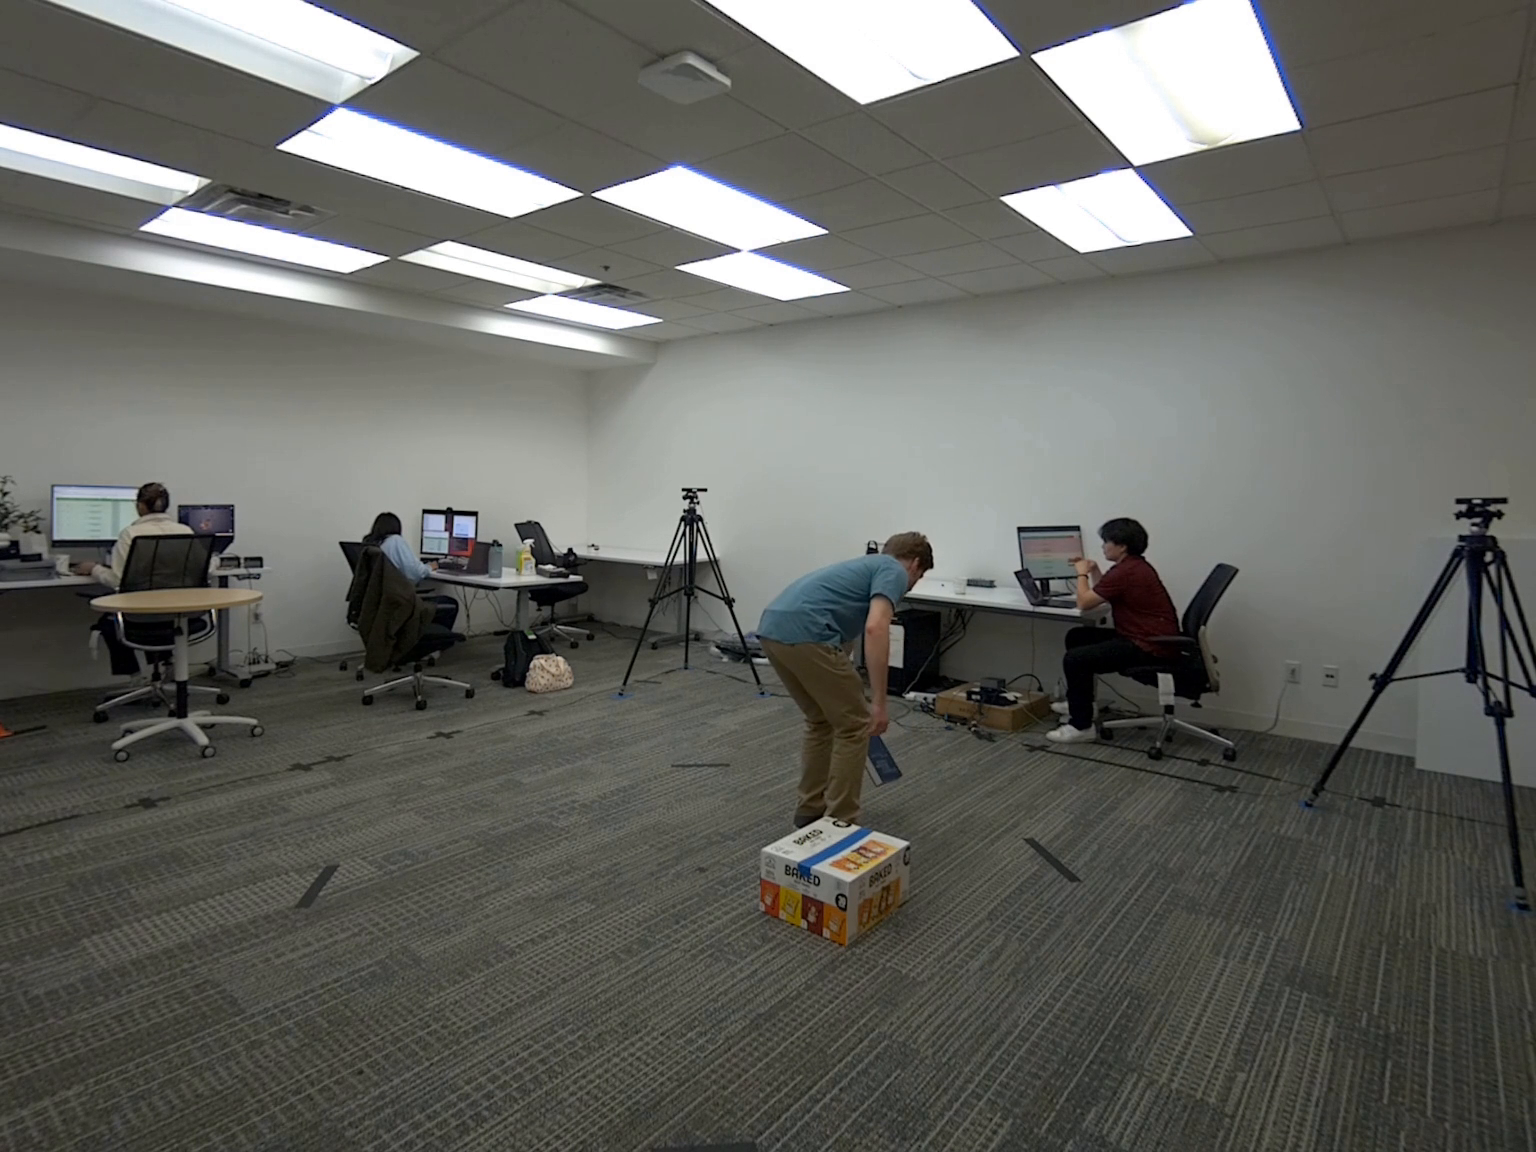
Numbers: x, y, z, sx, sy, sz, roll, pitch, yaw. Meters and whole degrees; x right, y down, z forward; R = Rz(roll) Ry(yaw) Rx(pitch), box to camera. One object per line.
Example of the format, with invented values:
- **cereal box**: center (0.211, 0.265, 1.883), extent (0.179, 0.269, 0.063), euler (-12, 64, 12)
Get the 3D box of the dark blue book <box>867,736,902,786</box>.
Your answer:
- **dark blue book**: center (0.466, 0.774, 3.704), extent (0.158, 0.253, 0.045), euler (0, -38, -48)
